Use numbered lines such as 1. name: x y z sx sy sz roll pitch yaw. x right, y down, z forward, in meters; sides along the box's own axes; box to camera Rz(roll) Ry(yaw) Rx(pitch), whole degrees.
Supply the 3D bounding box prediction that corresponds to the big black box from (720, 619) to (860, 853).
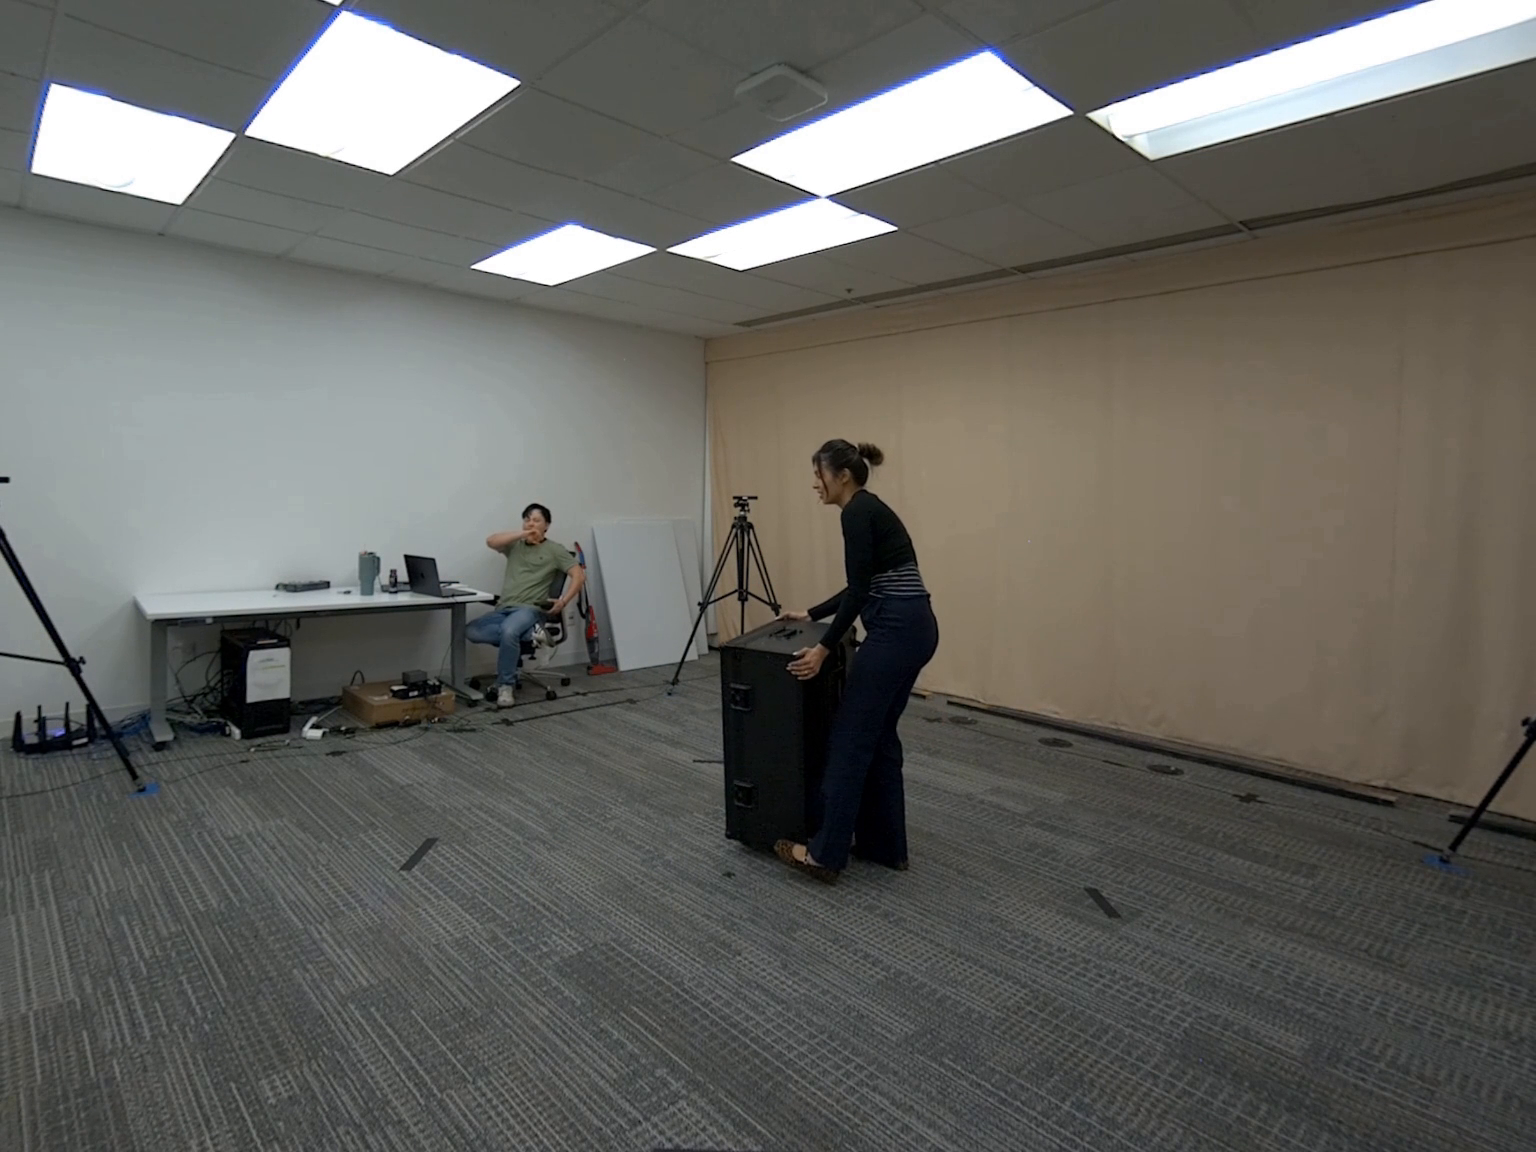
1. big black box: 0.095 0.646 3.349 0.405 0.855 0.513 5 11 32
